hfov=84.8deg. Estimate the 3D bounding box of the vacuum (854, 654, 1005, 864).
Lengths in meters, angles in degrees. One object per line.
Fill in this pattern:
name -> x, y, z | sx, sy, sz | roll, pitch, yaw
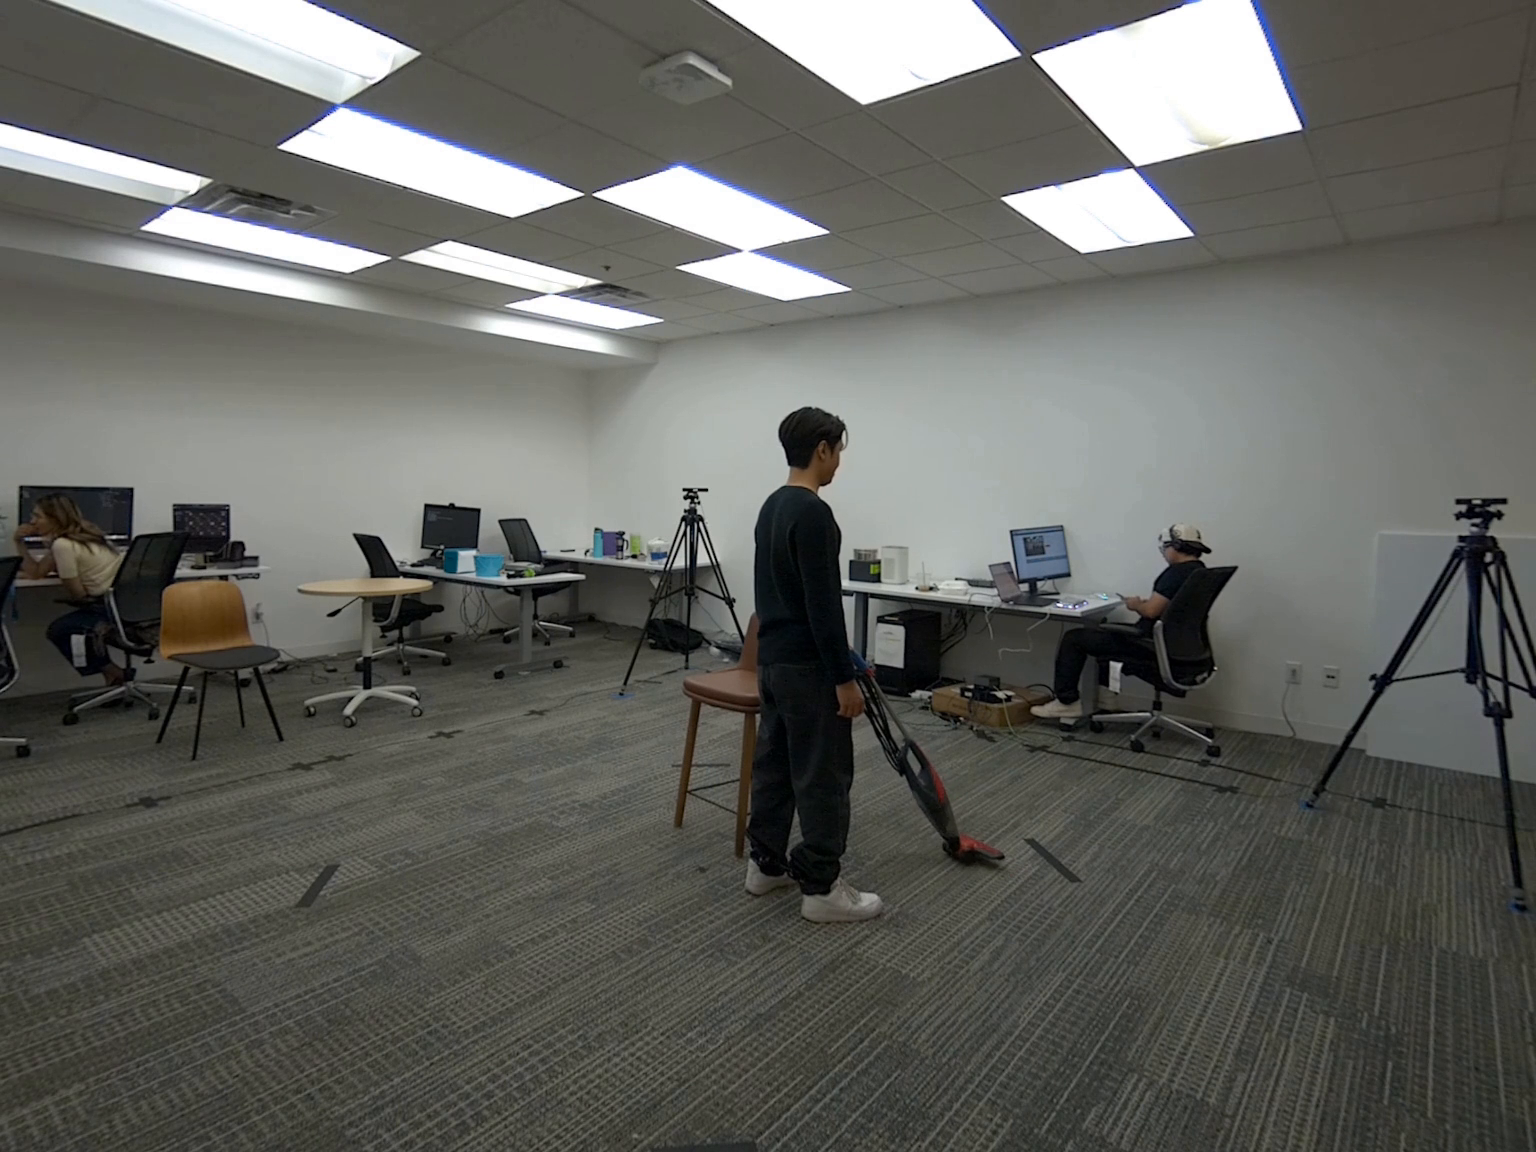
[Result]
vacuum -> 0.496, 0.643, 3.156 | 0.143, 1.031, 0.258 | -39, 14, -21
